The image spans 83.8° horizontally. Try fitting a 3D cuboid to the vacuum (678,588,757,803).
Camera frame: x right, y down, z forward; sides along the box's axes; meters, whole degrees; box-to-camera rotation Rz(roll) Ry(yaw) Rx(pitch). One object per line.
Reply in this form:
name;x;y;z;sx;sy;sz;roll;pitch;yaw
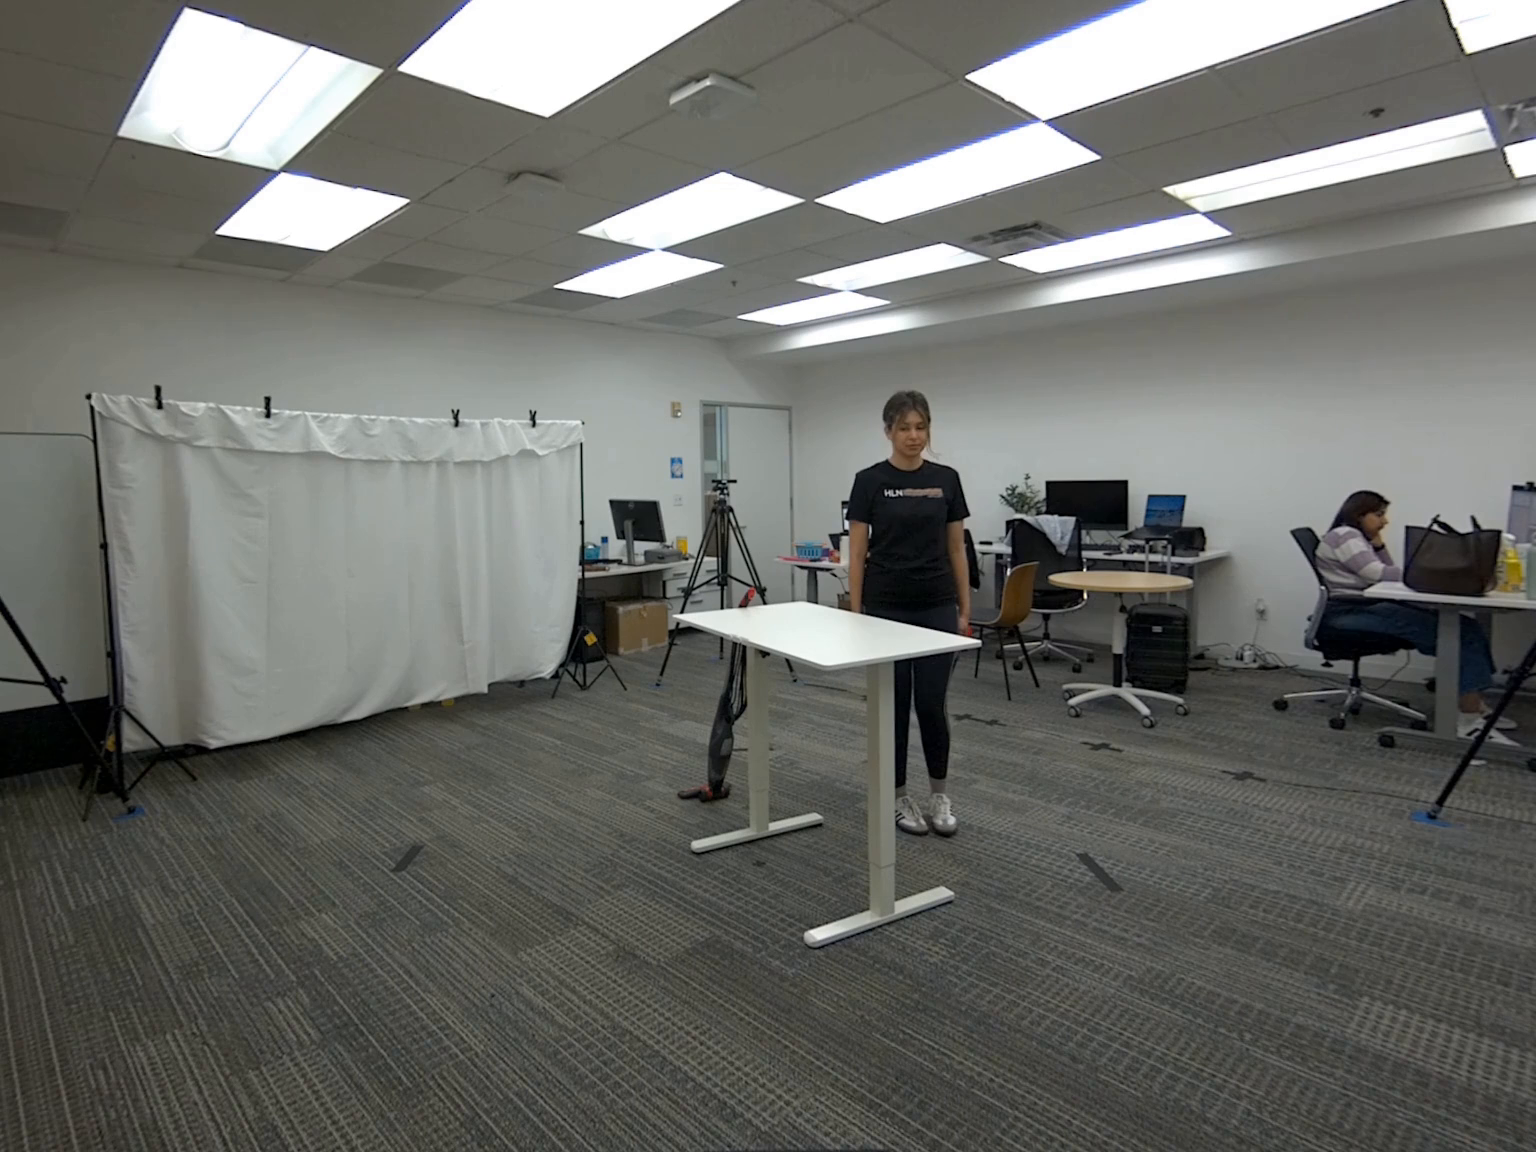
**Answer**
vacuum;-0.173;0.519;3.592;0.246;1.033;0.150;-8;30;-37
